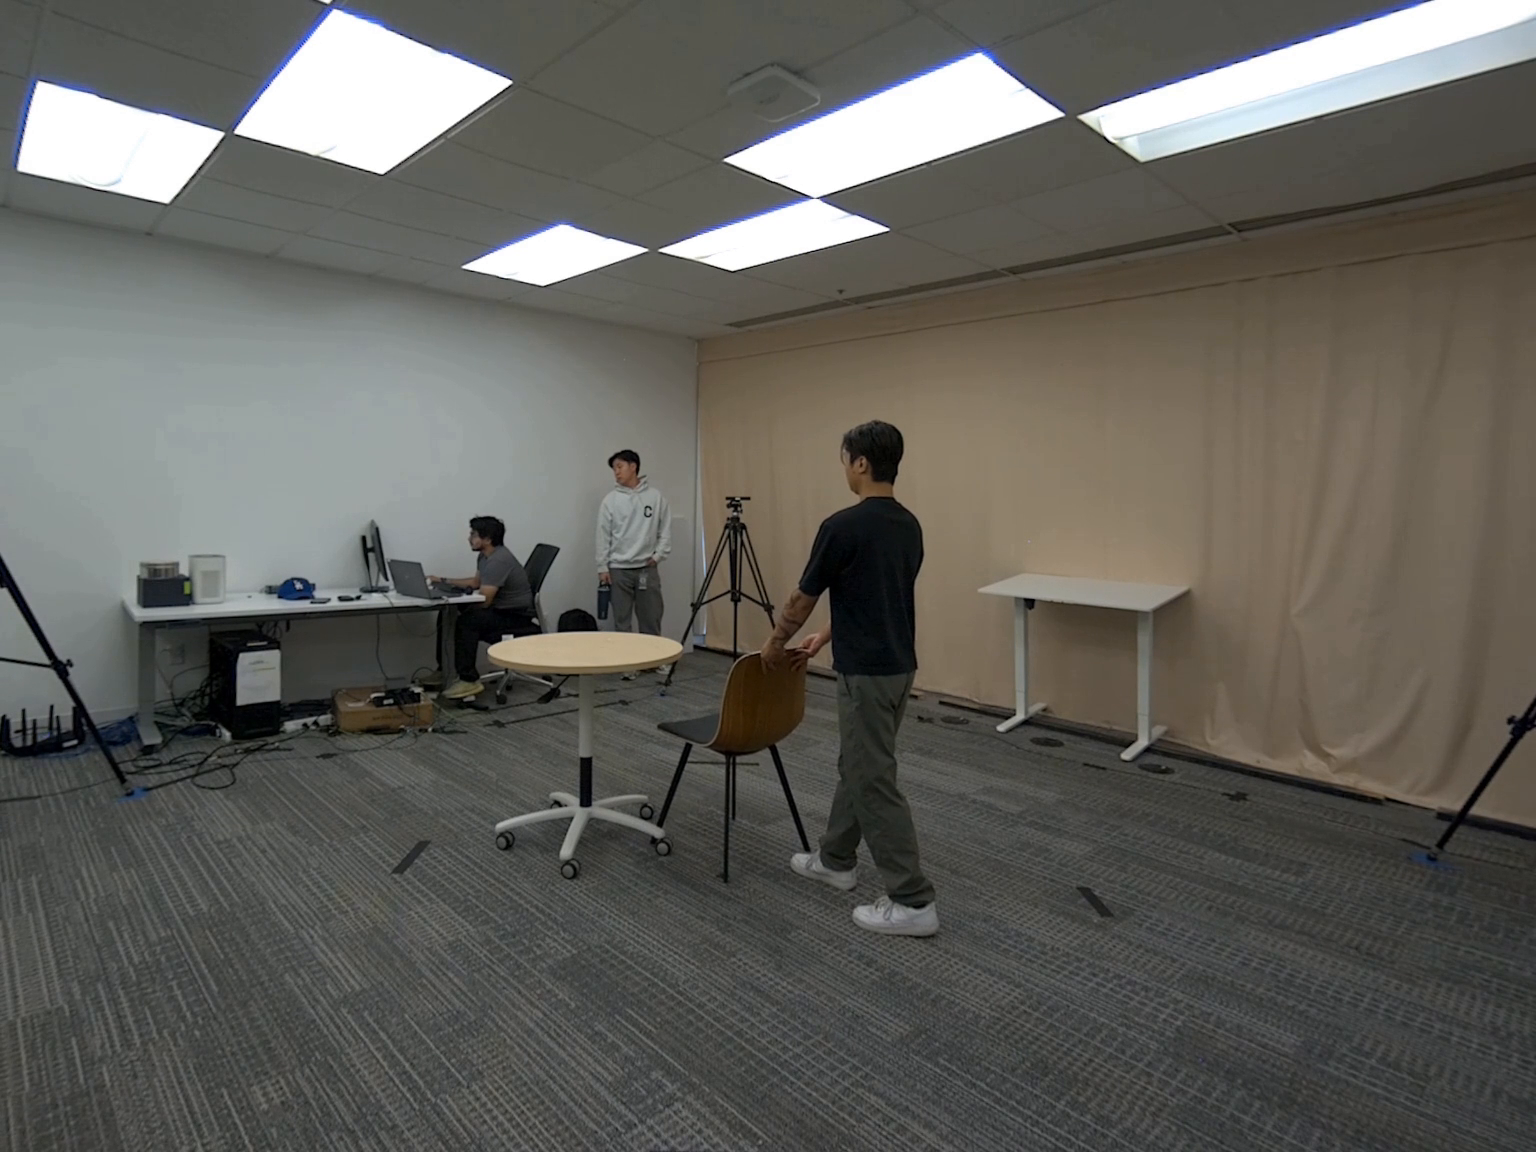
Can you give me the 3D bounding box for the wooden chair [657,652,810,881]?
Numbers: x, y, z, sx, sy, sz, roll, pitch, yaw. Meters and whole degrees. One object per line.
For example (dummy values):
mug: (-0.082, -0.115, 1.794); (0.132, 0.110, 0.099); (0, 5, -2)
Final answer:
wooden chair: (-0.151, 0.657, 3.327); (0.467, 0.873, 0.538); (-2, 9, -43)
